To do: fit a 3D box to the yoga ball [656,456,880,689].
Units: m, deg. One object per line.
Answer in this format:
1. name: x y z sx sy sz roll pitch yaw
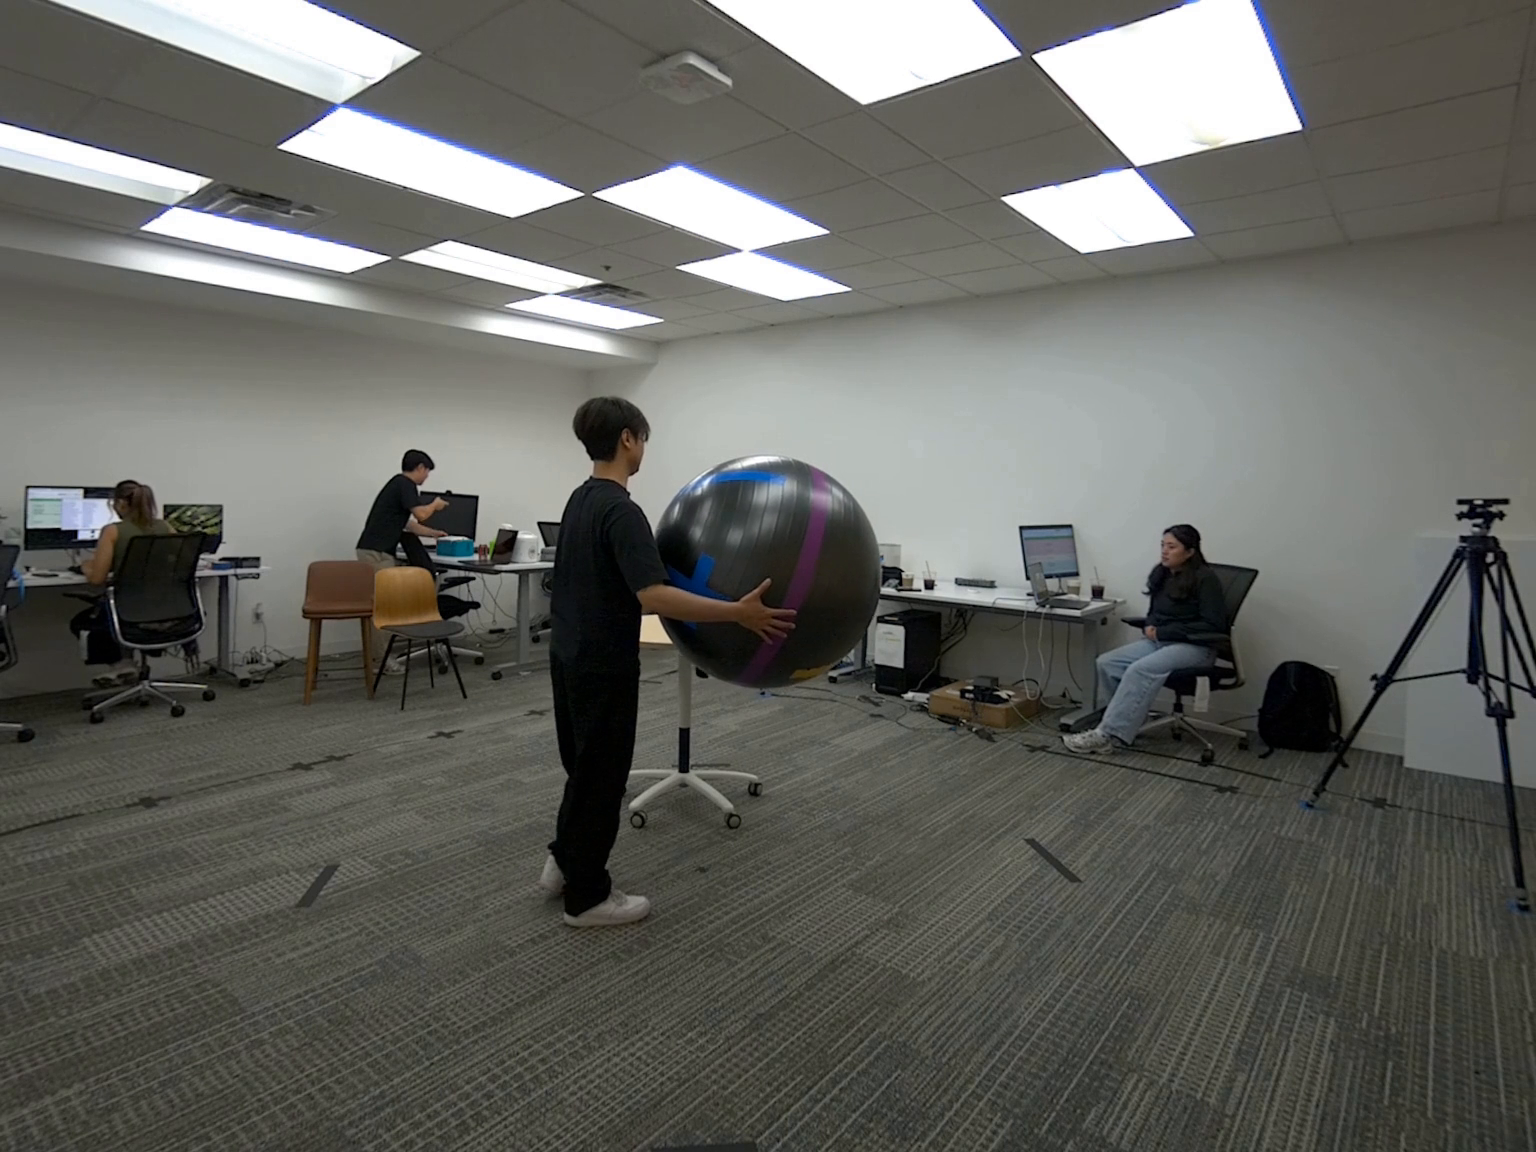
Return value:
1. yoga ball: -0.017 -0.014 2.801 0.757 0.755 0.762 1 4 -2
